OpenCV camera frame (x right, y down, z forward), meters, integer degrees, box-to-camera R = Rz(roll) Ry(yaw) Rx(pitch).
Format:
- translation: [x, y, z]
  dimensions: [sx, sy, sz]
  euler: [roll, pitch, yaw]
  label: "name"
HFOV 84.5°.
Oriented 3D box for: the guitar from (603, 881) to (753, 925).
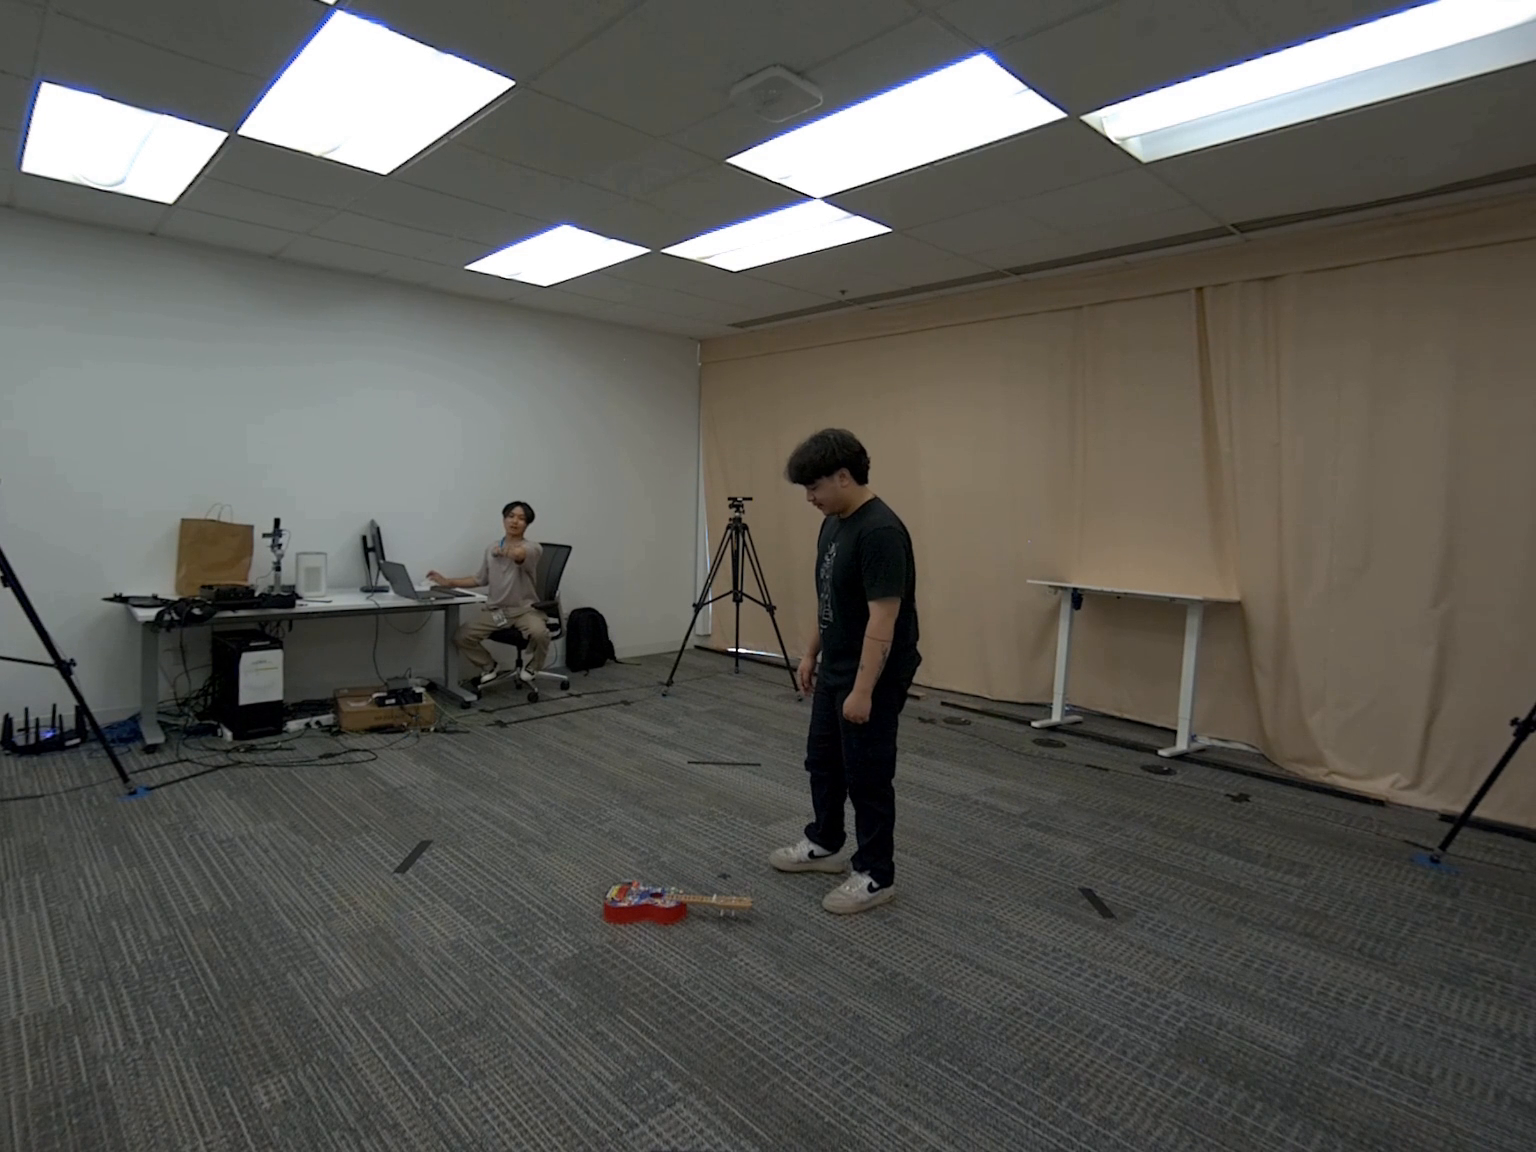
- translation: [-0.309, 1.098, 2.779]
  dimensions: [0.504, 0.070, 0.191]
  euler: [2, 4, 15]
  label: "guitar"
